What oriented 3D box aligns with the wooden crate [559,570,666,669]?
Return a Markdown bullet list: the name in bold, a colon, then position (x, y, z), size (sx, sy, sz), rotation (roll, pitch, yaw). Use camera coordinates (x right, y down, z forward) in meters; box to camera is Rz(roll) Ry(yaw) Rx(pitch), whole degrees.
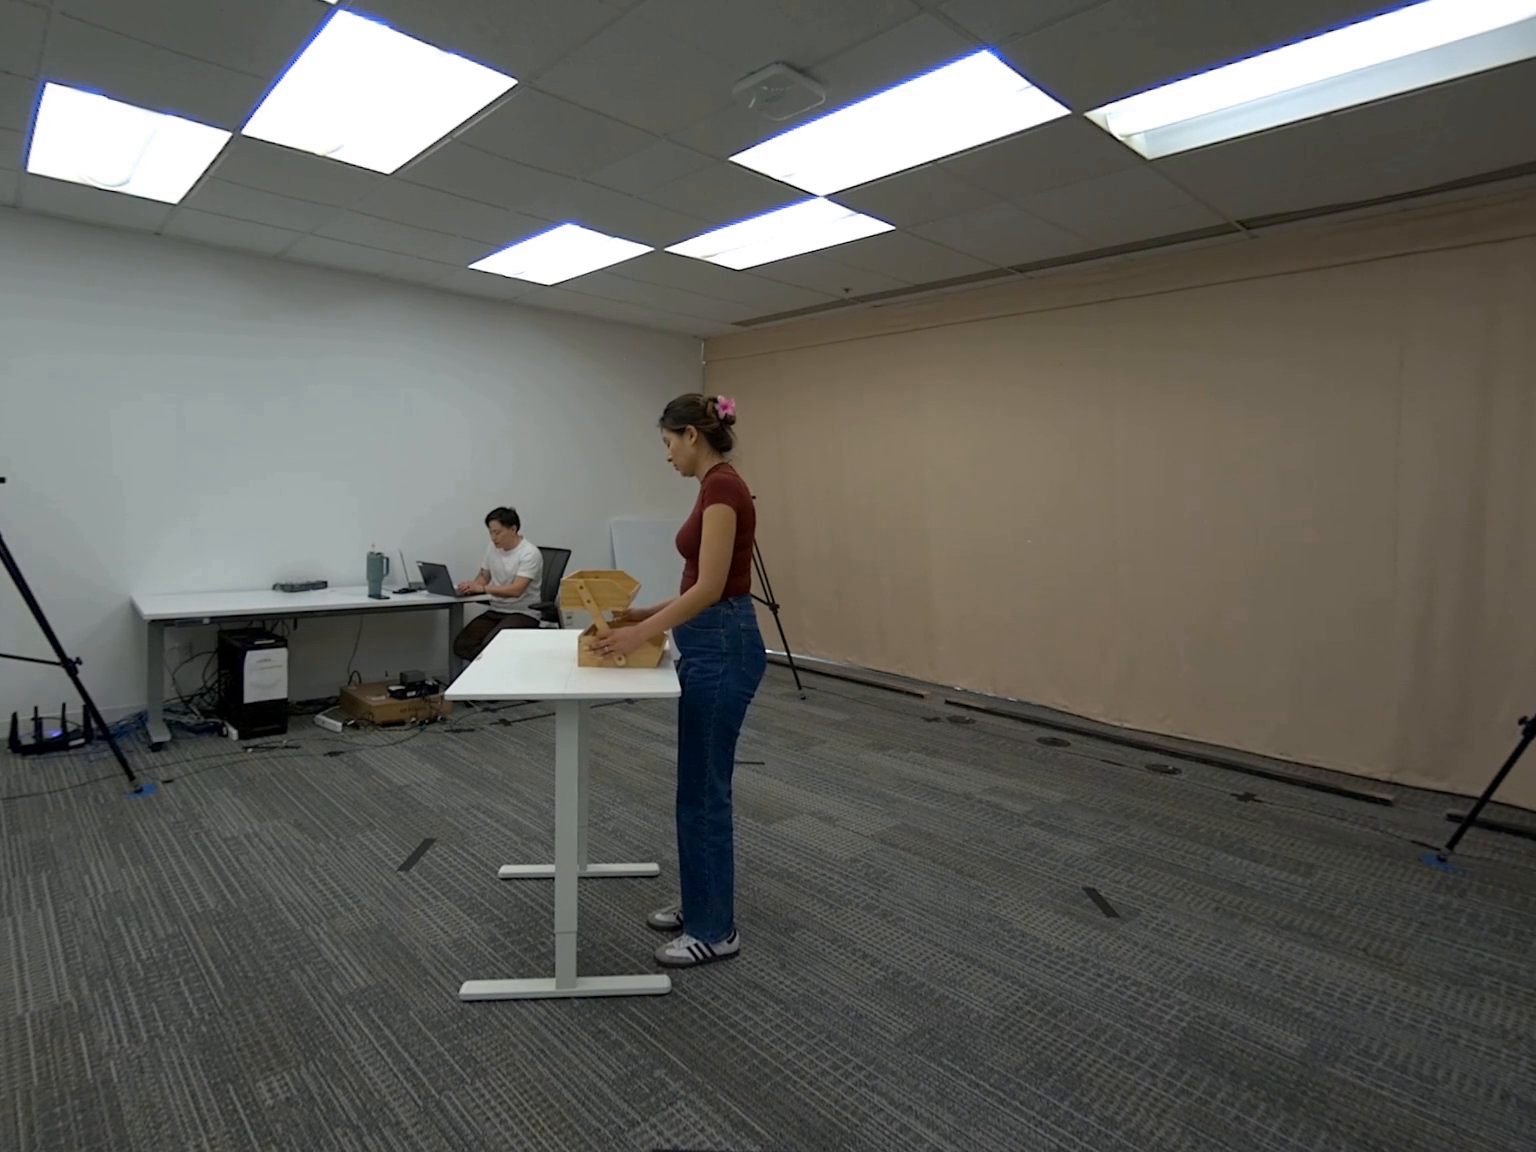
- **wooden crate**: position (-0.472, 0.126, 2.623), size (0.302, 0.272, 0.326), rotation (1, 4, -2)
